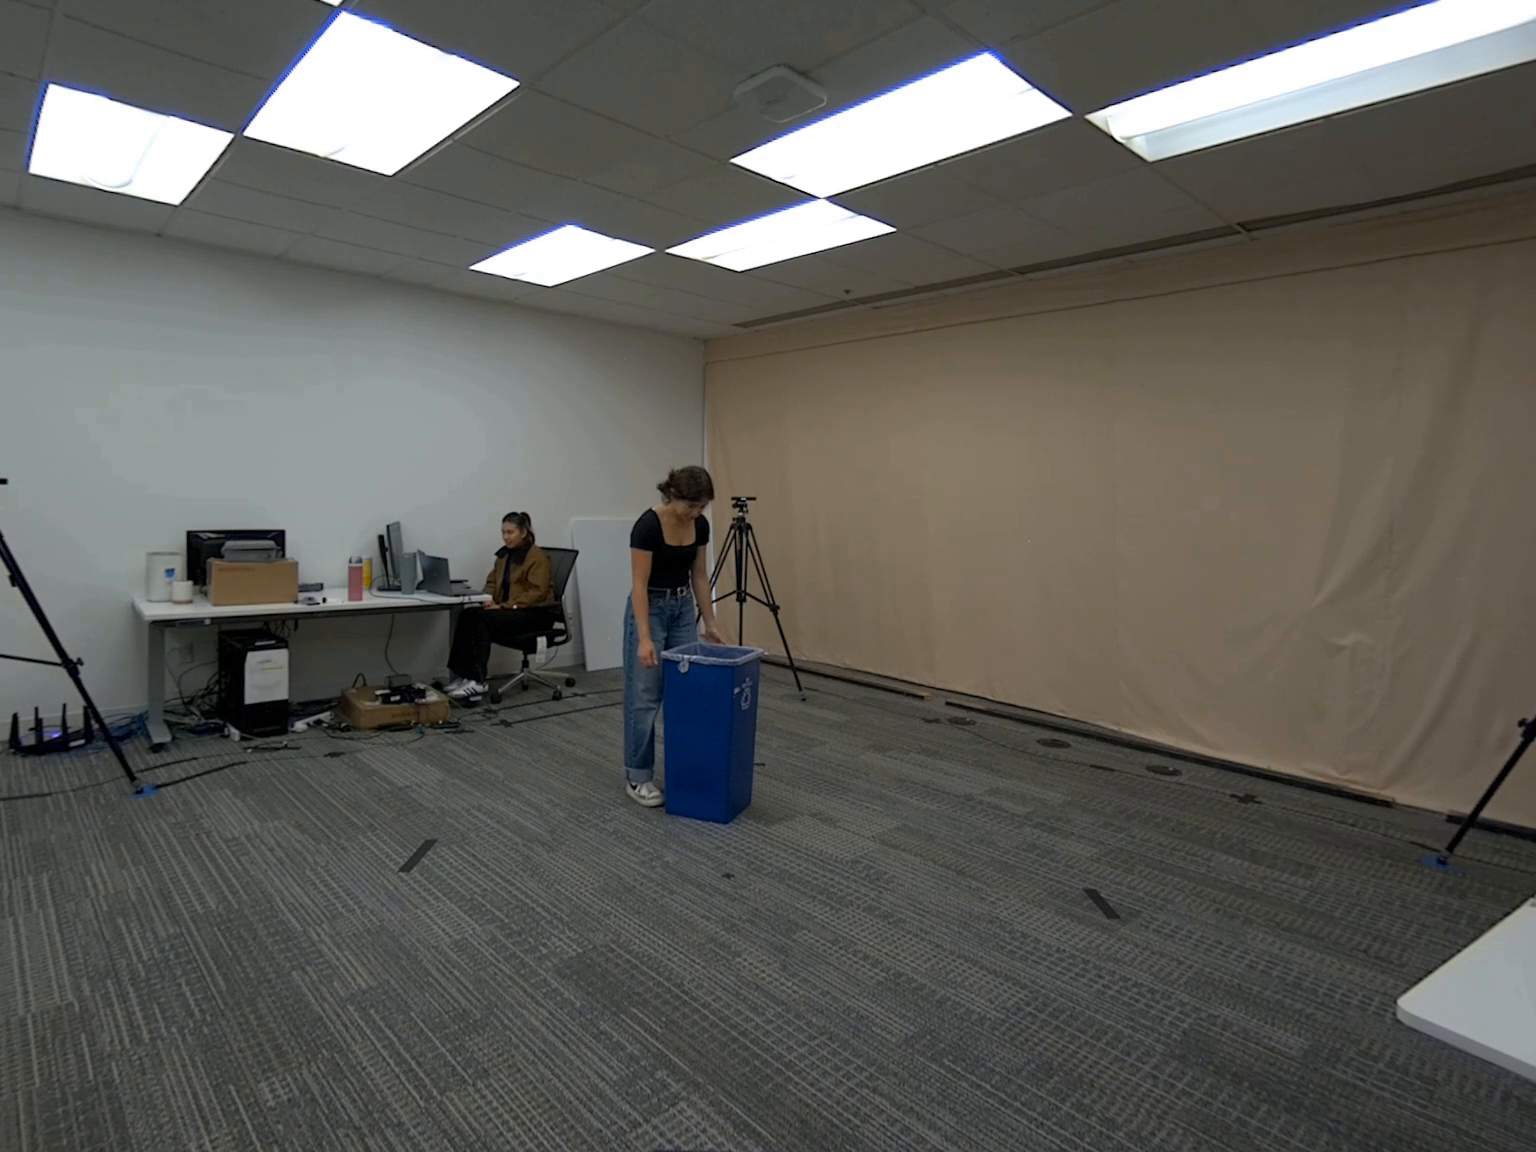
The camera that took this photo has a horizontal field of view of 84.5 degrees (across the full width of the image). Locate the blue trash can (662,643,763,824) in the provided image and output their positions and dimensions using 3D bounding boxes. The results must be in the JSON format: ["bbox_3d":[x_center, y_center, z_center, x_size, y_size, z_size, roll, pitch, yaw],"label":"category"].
[{"bbox_3d":[-0.266,0.688,3.780,0.384,0.712,0.368,3,4,21],"label":"blue trash can"}]
